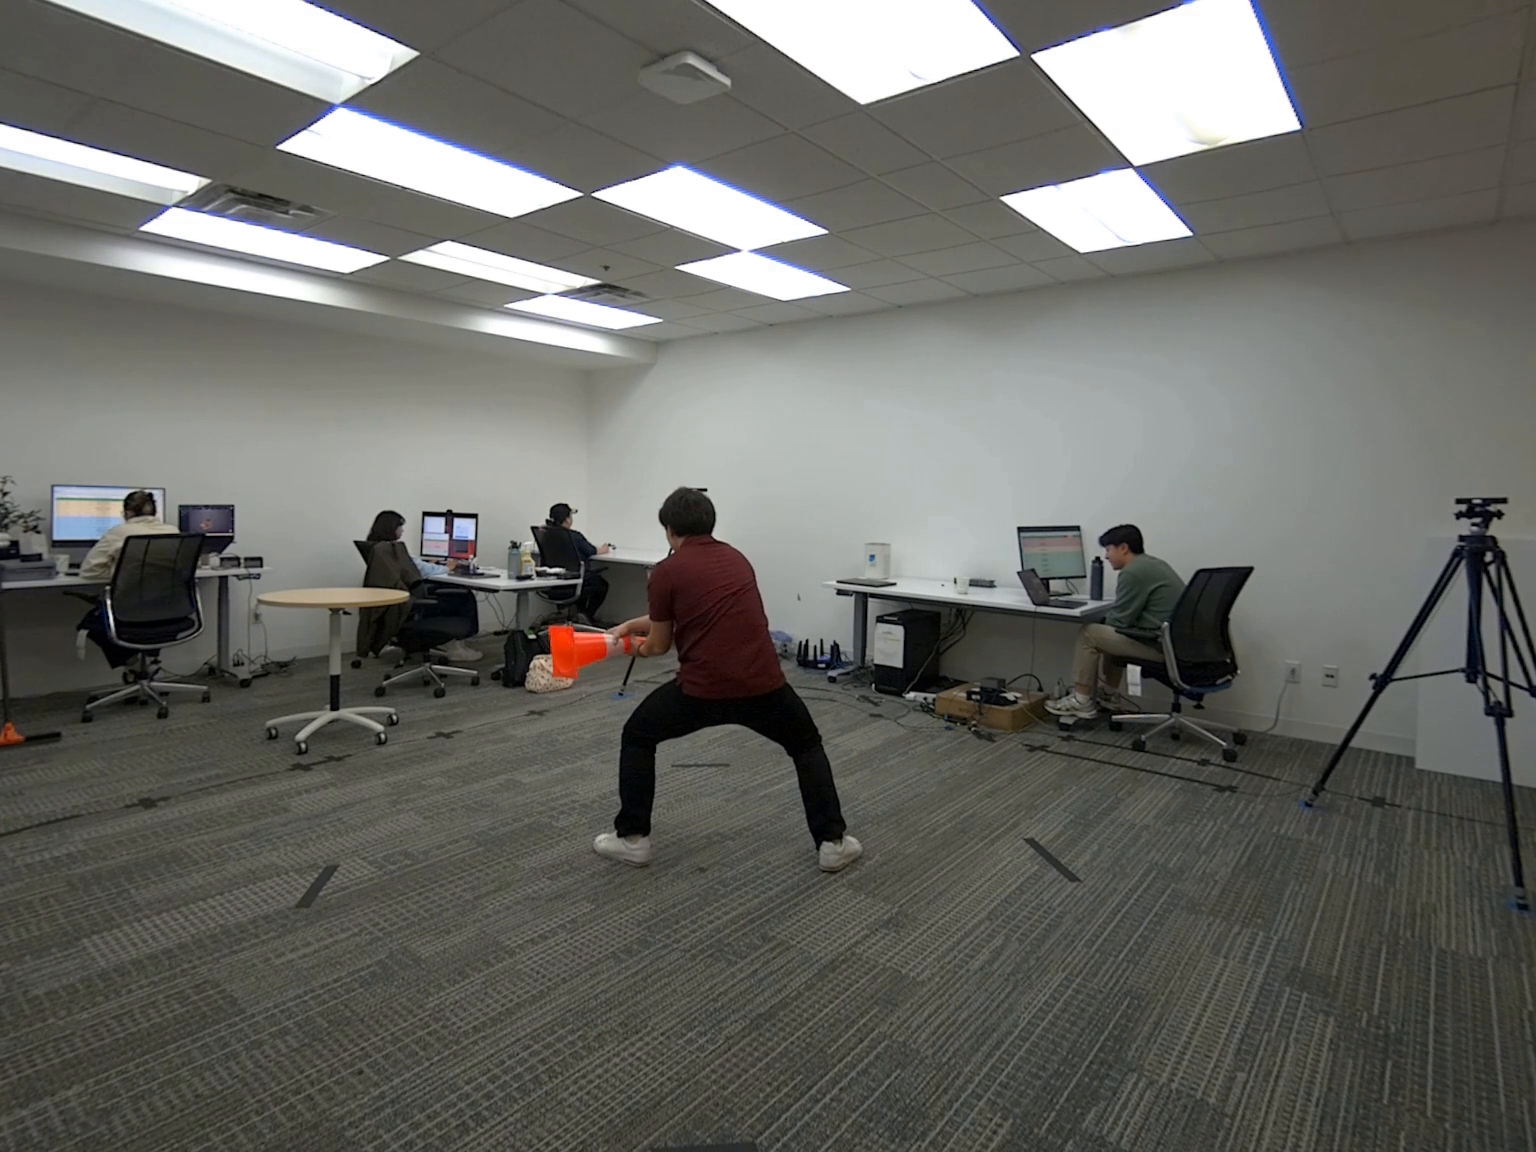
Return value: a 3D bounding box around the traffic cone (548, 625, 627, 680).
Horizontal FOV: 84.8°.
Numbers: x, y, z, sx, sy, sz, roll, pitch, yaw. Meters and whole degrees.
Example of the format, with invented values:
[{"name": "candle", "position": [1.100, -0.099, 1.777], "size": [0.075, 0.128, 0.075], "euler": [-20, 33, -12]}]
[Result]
[{"name": "traffic cone", "position": [-0.653, 0.281, 3.376], "size": [0.373, 0.204, 0.210], "euler": [-2, -1, -35]}]
